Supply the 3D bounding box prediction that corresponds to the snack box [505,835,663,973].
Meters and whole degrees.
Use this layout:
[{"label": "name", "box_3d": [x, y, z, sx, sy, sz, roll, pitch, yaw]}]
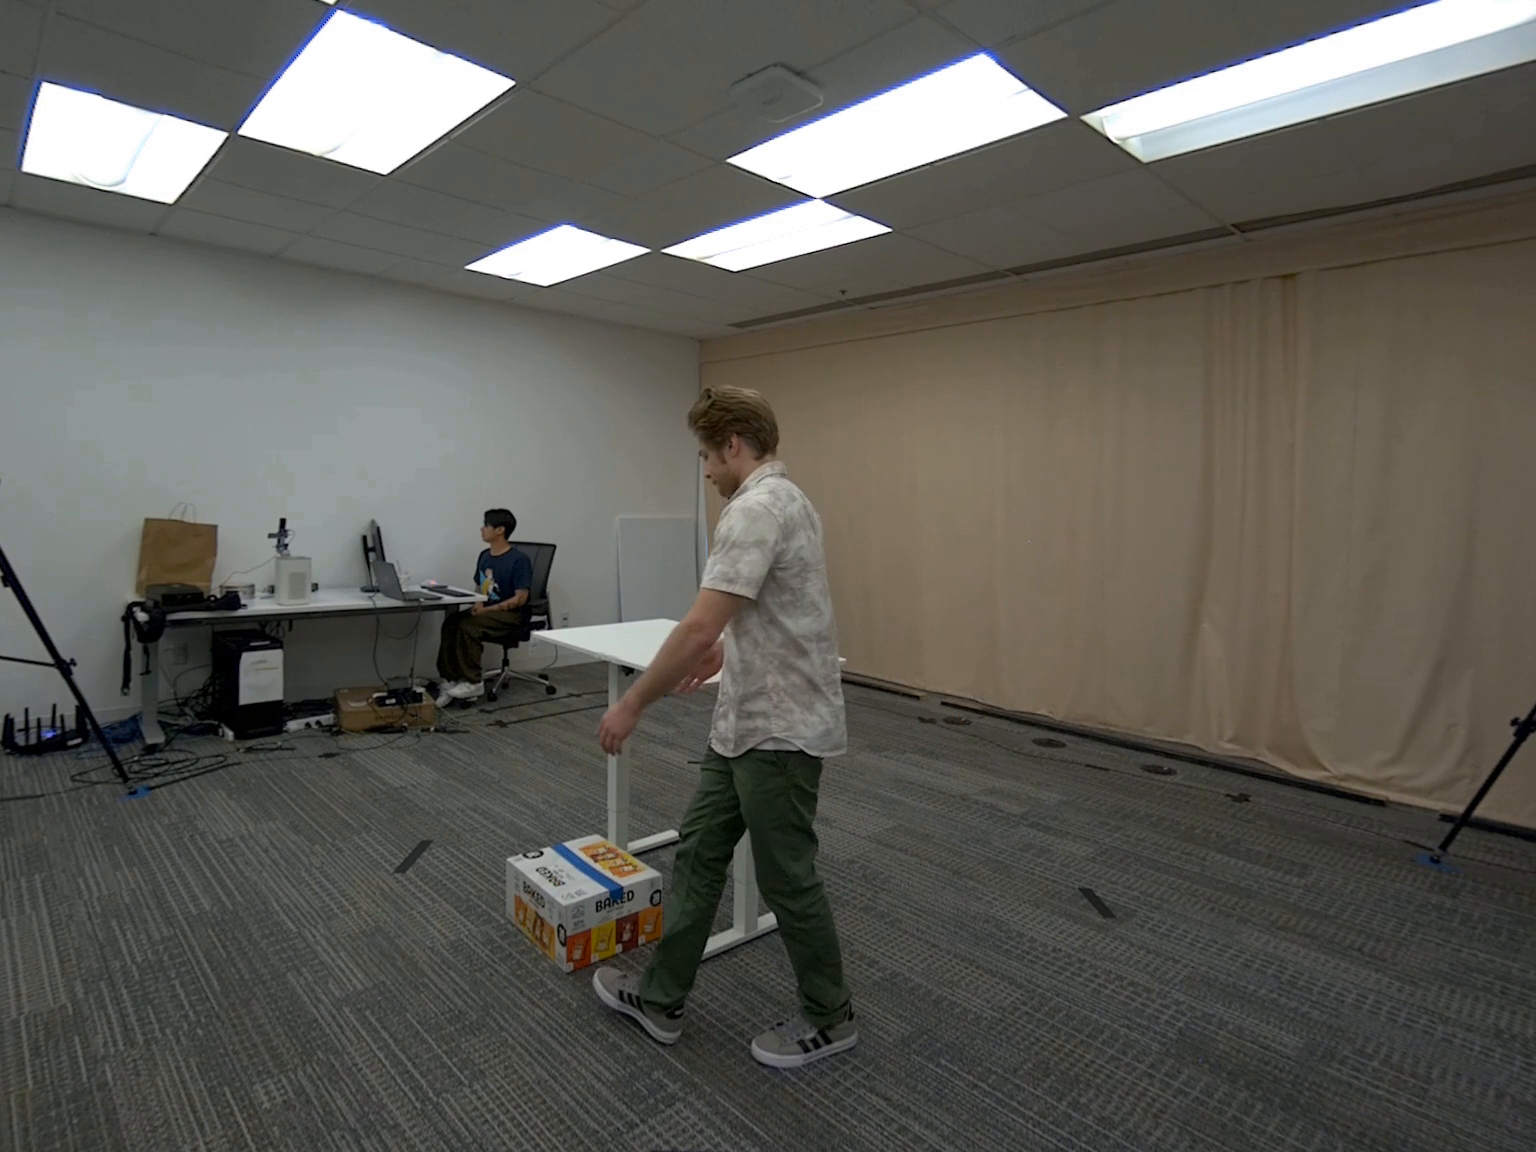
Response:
[{"label": "snack box", "box_3d": [-0.602, 1.035, 2.696, 0.332, 0.205, 0.415, -2, 6, -40]}]
